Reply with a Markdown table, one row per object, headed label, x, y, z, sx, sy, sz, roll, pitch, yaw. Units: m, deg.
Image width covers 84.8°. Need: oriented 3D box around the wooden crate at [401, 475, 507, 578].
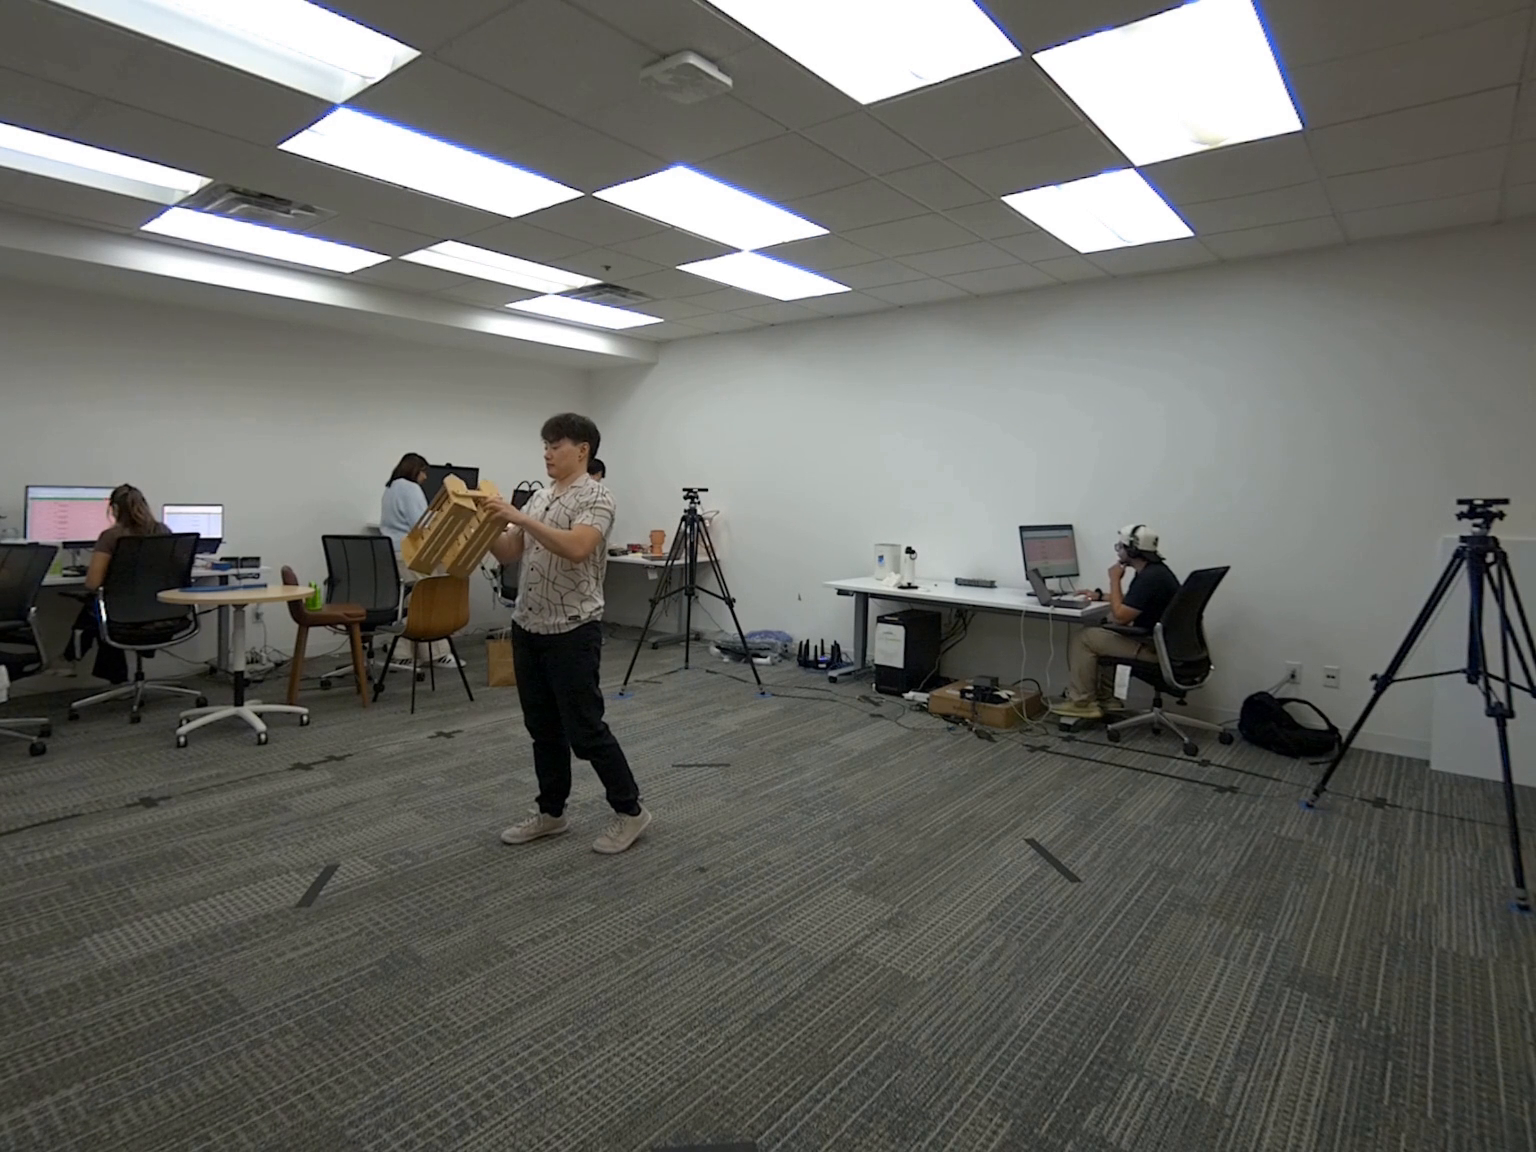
| label | x | y | z | sx | sy | sz | roll | pitch | yaw |
| --- | --- | --- | --- | --- | --- | --- | --- | --- | --- |
| wooden crate | -1.159 | -0.197 | 3.086 | 0.262 | 0.324 | 0.315 | 25 | 20 | -47 |
